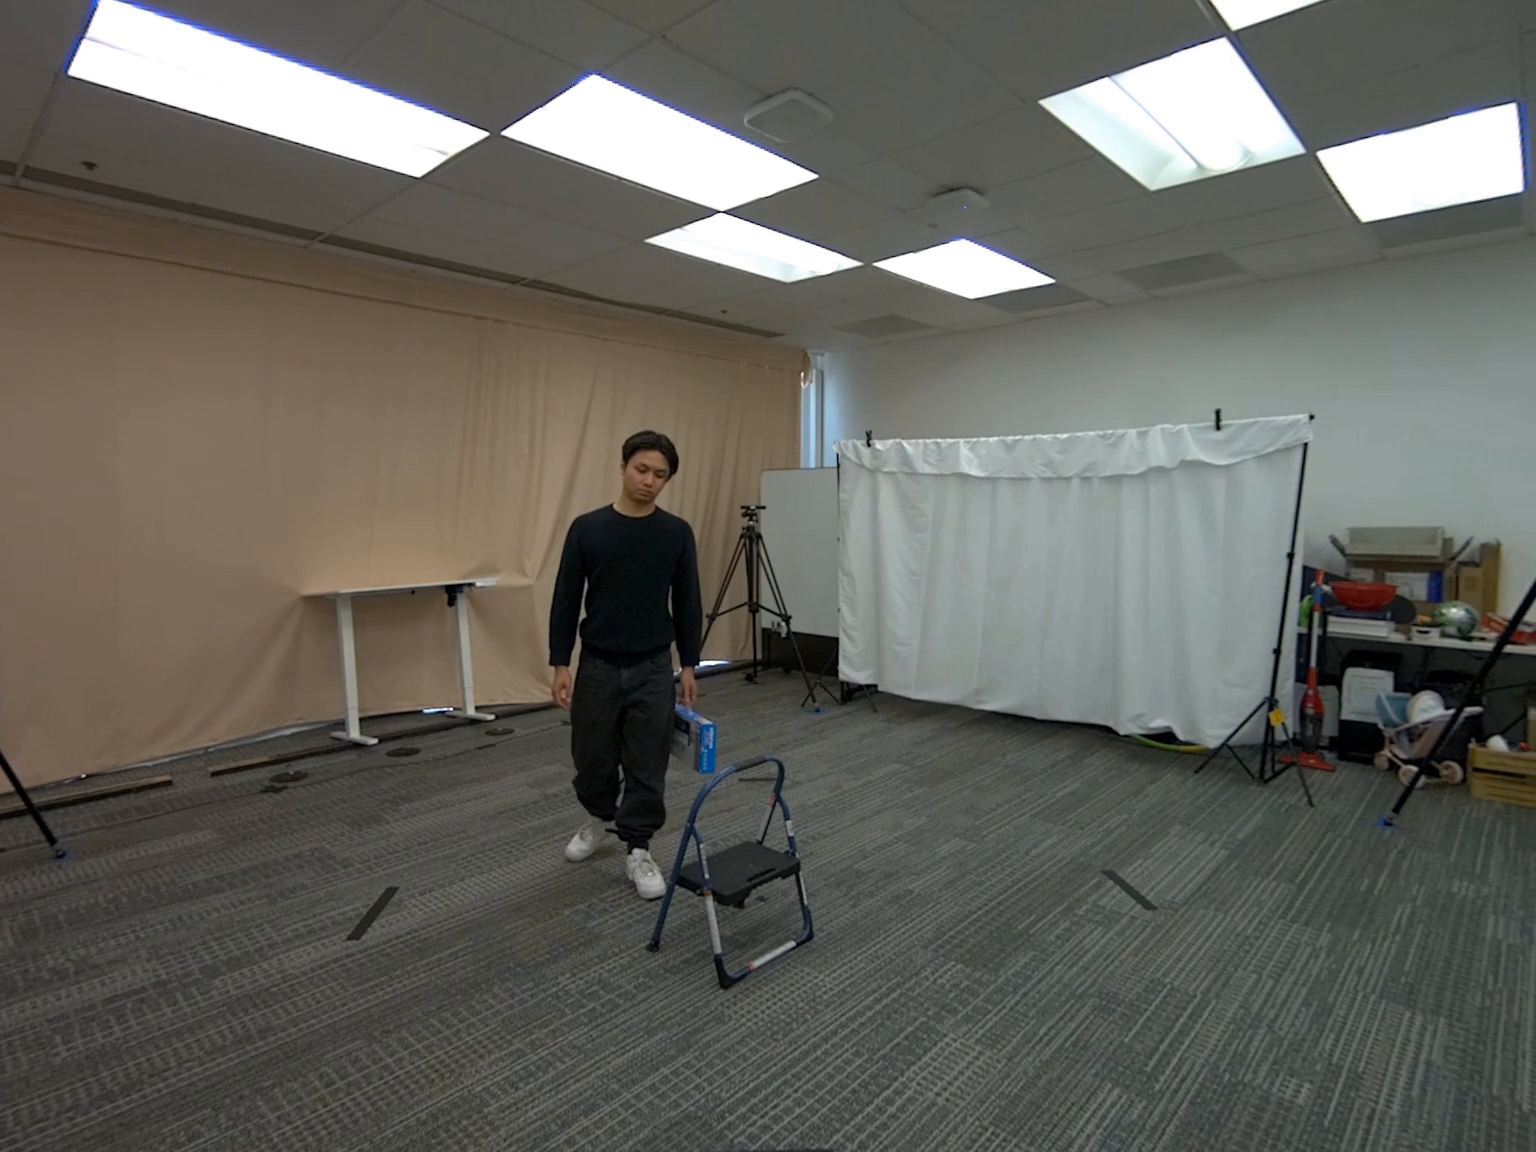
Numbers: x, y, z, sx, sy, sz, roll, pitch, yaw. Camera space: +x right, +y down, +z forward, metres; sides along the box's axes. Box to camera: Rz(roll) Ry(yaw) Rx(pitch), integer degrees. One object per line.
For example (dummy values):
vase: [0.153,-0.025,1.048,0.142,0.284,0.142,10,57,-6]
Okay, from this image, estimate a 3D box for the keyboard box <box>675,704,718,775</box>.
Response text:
keyboard box: [-0.306,0.594,3.137,0.057,0.176,0.448,2,2,-26]
